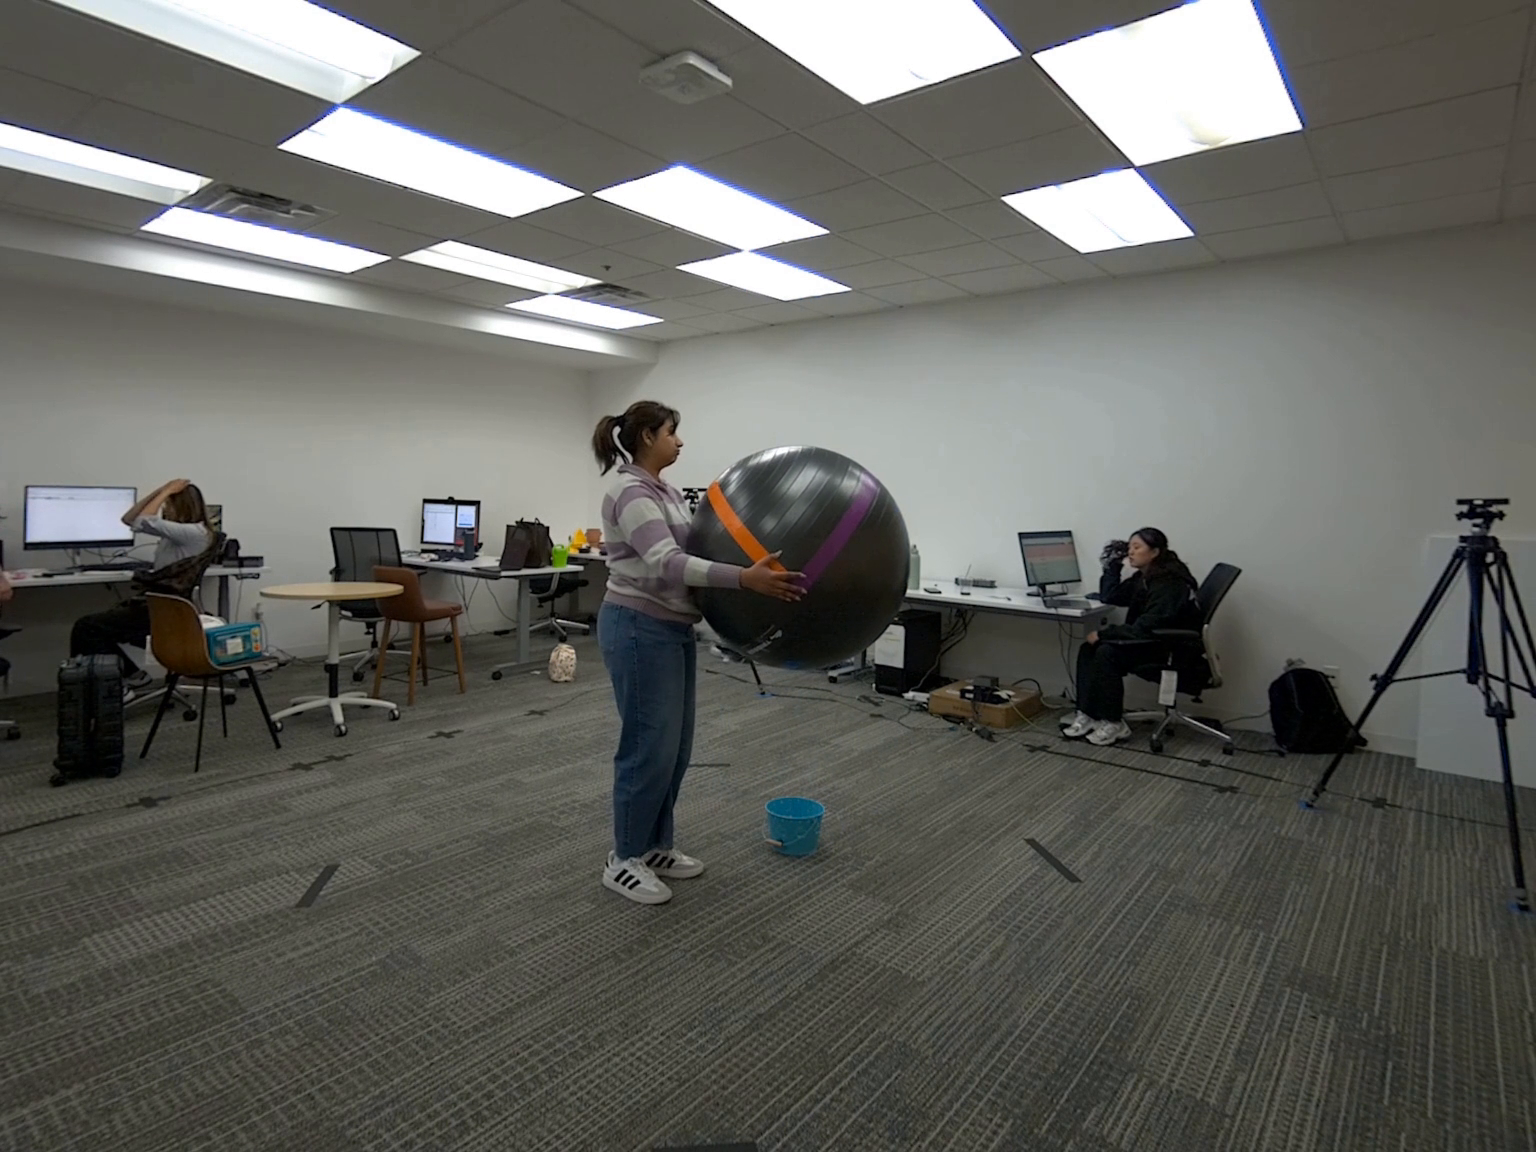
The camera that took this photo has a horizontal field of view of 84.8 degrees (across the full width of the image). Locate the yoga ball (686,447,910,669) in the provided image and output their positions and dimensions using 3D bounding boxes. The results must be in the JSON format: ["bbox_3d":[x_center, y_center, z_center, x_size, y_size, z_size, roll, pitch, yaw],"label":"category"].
[{"bbox_3d":[0.094,-0.060,2.875,0.757,0.756,0.762,1,4,-2],"label":"yoga ball"}]
